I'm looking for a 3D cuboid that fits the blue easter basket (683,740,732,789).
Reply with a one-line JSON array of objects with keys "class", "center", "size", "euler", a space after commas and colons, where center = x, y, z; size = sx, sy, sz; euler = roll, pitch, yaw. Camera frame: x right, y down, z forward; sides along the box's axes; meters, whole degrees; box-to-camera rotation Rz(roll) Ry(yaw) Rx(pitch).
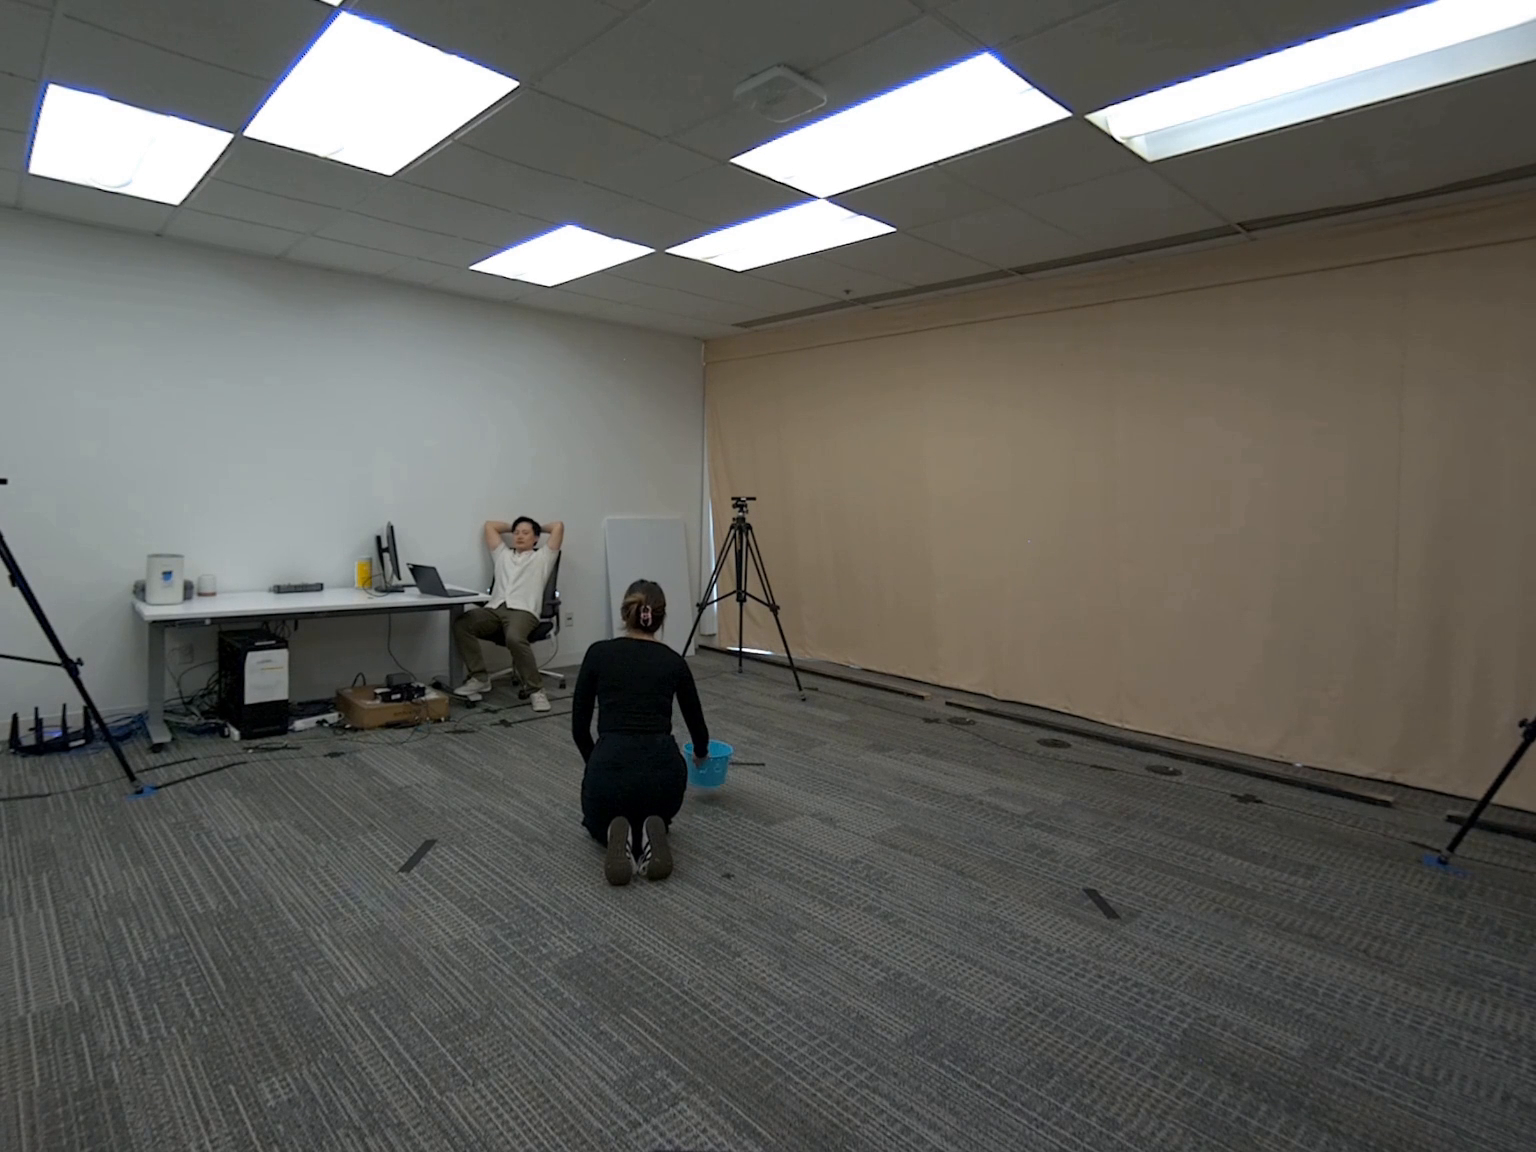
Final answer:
[{"class": "blue easter basket", "center": [-0.288, 0.865, 3.882], "size": [0.243, 0.155, 0.244], "euler": [4, 5, -2]}]
